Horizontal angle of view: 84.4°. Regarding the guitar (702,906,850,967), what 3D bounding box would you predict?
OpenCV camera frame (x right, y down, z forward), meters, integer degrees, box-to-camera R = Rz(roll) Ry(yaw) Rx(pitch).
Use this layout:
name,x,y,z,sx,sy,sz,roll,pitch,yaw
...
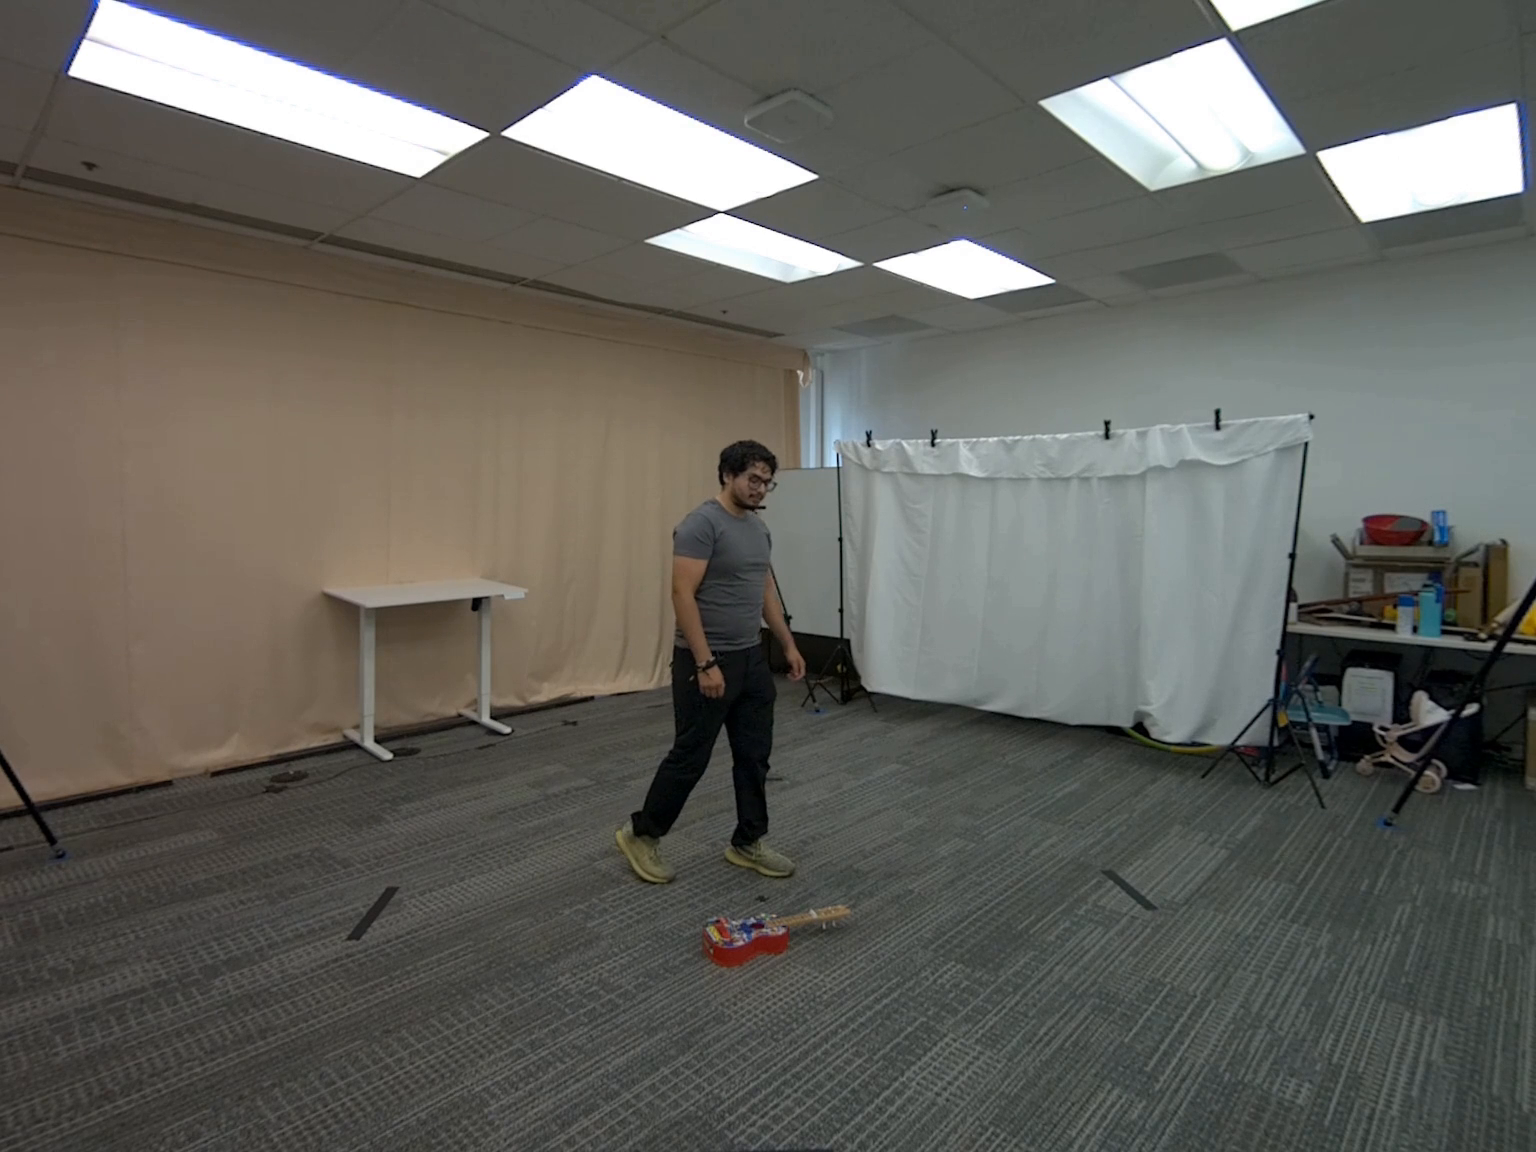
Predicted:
name,x,y,z,sx,sy,sz,roll,pitch,yaw
guitar,0.046,1.138,2.668,0.492,0.070,0.196,-2,5,-11
